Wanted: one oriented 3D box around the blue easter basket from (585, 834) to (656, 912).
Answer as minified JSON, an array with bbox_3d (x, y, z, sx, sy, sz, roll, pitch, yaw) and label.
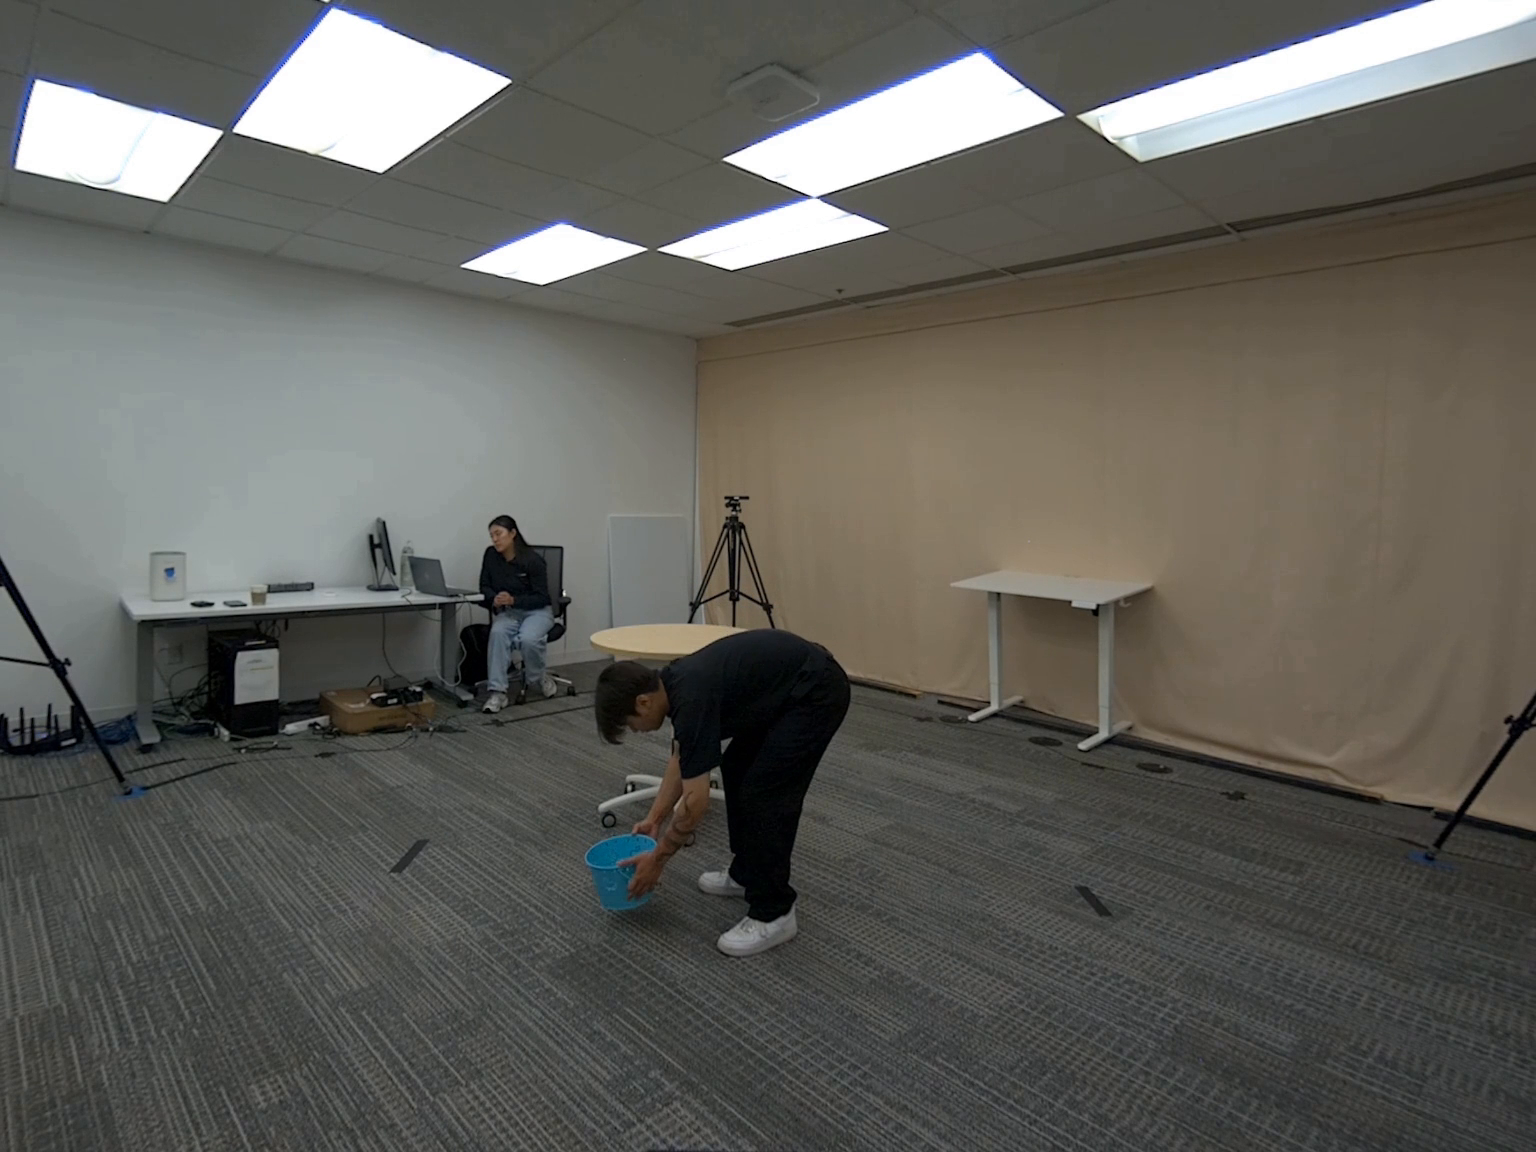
[{"bbox_3d":[-0.480,0.969,2.734,0.243,0.155,0.245,-7,7,-1],"label":"blue easter basket"}]
